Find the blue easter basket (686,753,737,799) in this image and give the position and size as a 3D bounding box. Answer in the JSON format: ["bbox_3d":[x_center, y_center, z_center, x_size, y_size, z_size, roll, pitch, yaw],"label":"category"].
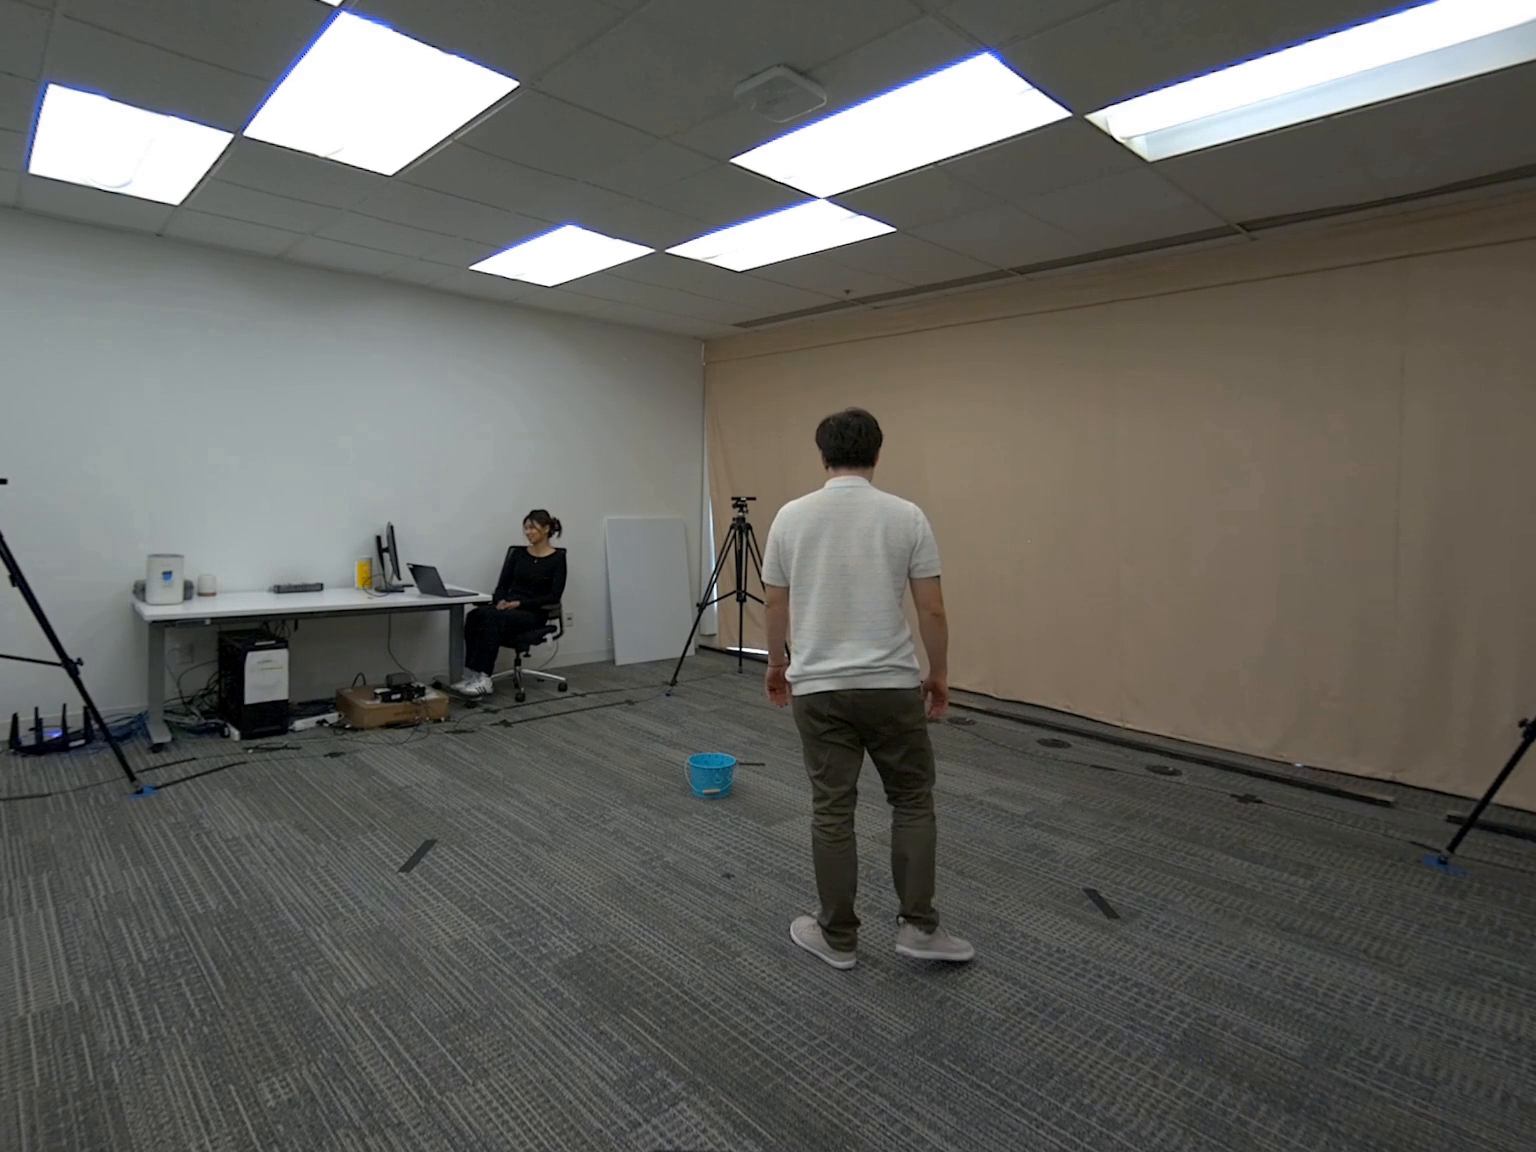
[{"bbox_3d":[-0.287,0.951,4.000,0.243,0.155,0.244,2,5,-2],"label":"blue easter basket"}]
